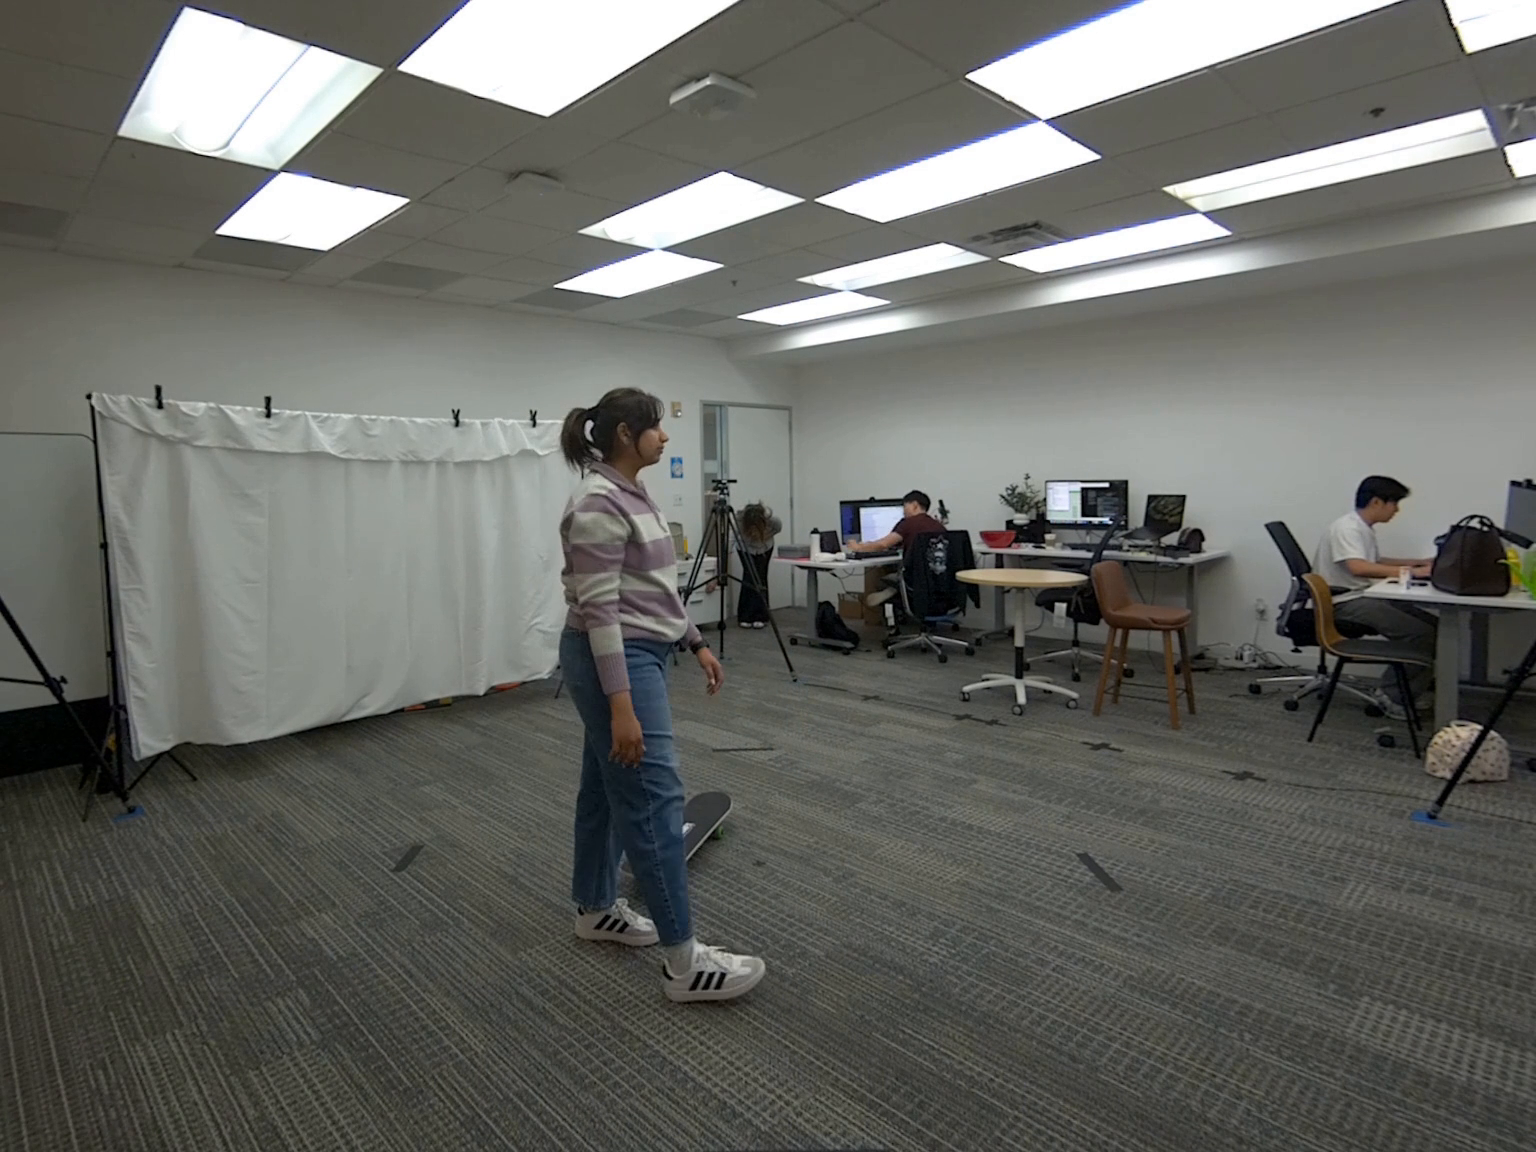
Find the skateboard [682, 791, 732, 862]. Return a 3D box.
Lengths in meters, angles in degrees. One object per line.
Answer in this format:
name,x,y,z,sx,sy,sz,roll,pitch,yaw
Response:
skateboard,-0.321,0.987,3.171,0.197,0.110,0.776,2,7,16
